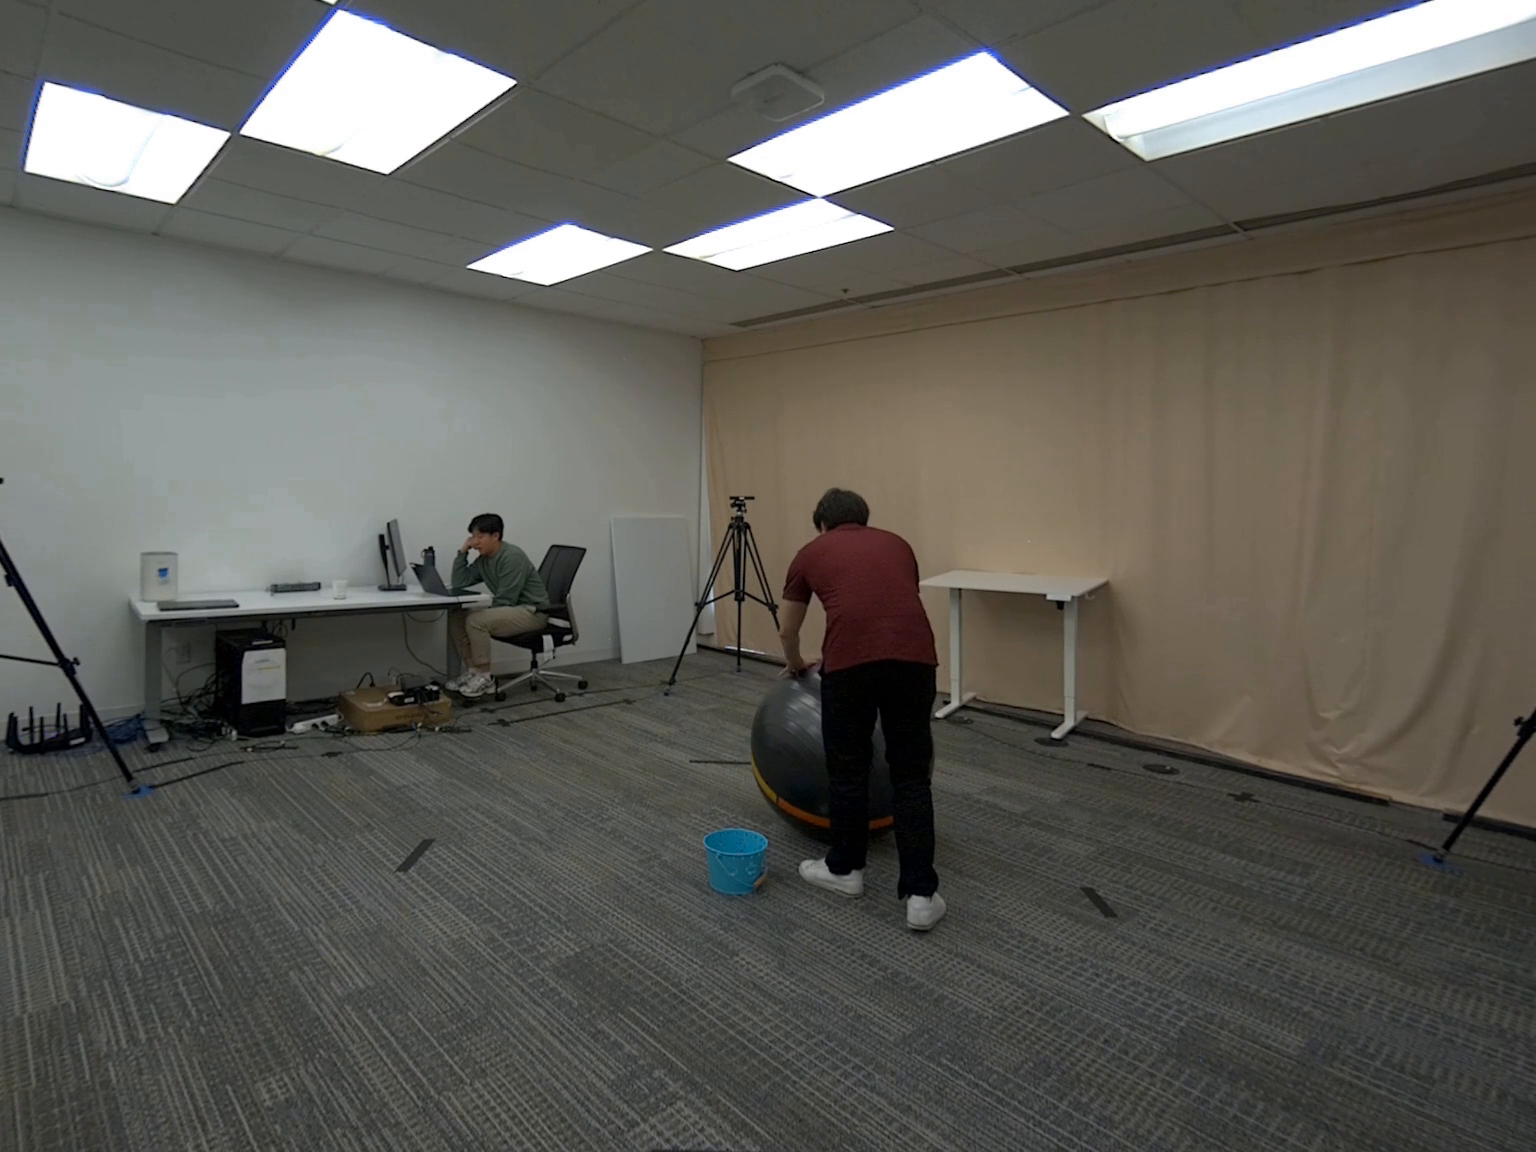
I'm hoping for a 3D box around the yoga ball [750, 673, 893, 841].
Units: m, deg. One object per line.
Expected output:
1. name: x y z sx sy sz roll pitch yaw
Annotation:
1. yoga ball: 0.304 0.718 3.518 0.757 0.756 0.761 1 4 -1
